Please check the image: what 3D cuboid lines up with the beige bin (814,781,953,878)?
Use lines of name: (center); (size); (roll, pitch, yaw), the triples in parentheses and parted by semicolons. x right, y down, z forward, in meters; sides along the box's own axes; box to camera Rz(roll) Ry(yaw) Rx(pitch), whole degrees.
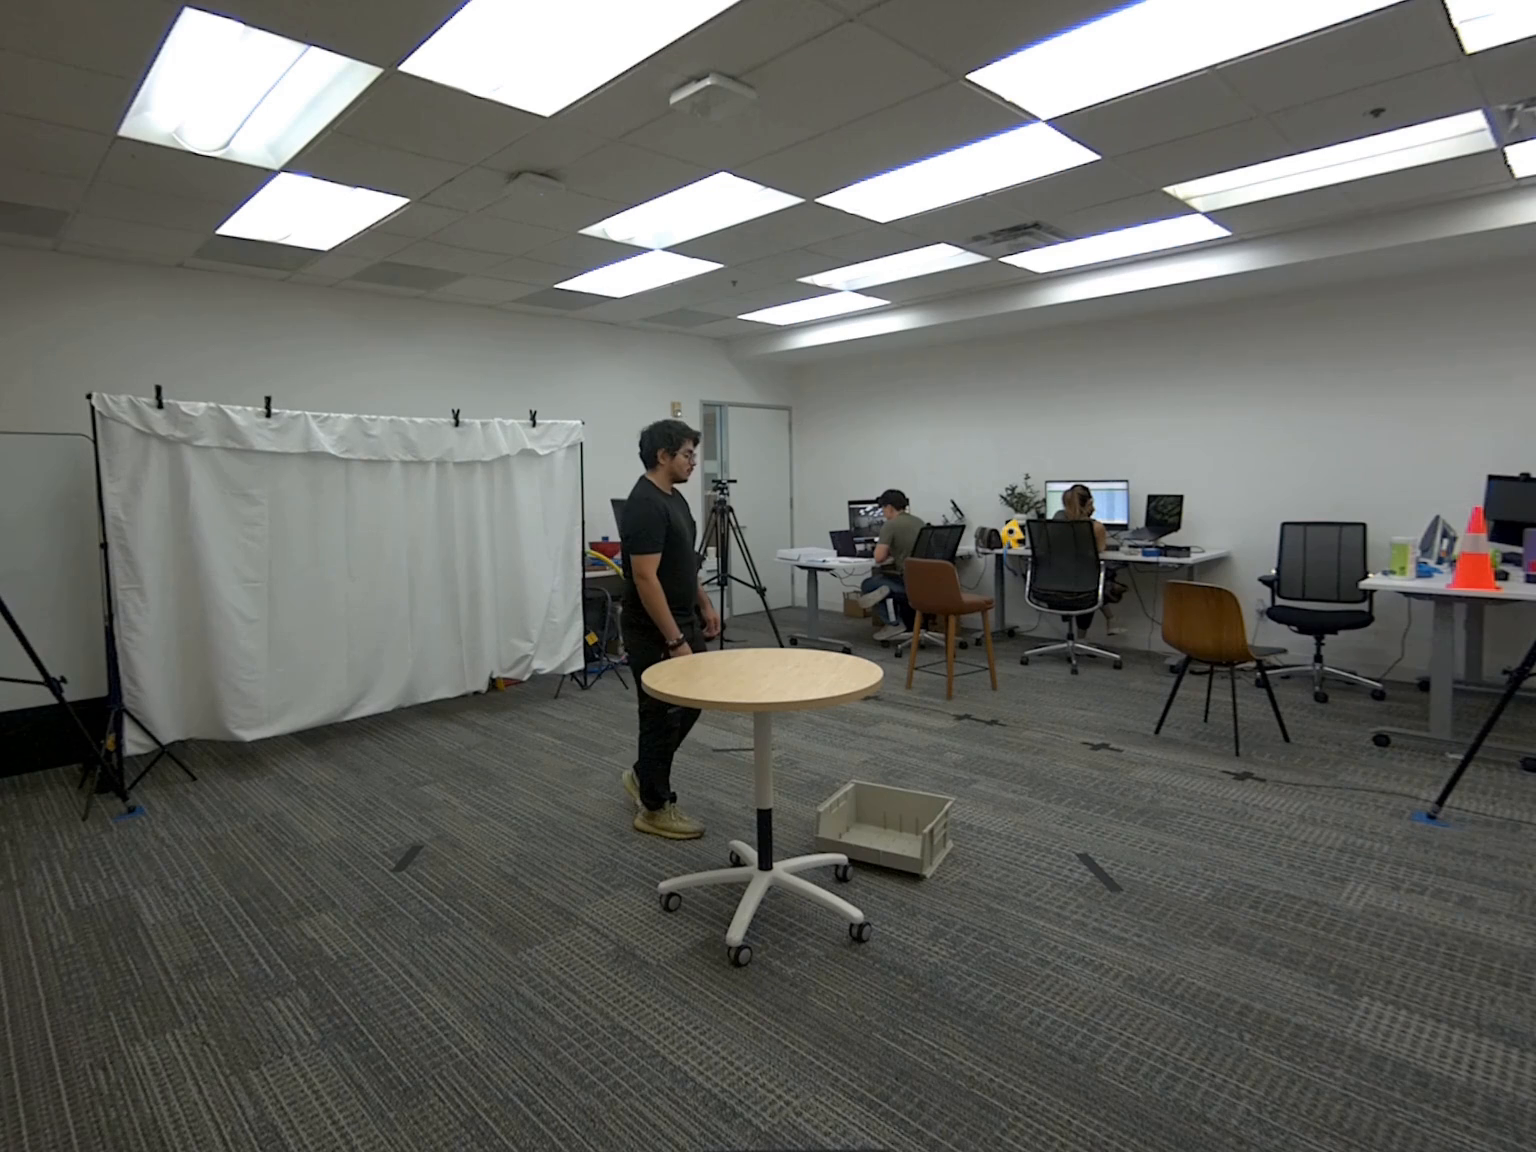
beige bin: (0.440, 0.942, 3.181); (0.433, 0.188, 0.369); (2, 5, 30)
